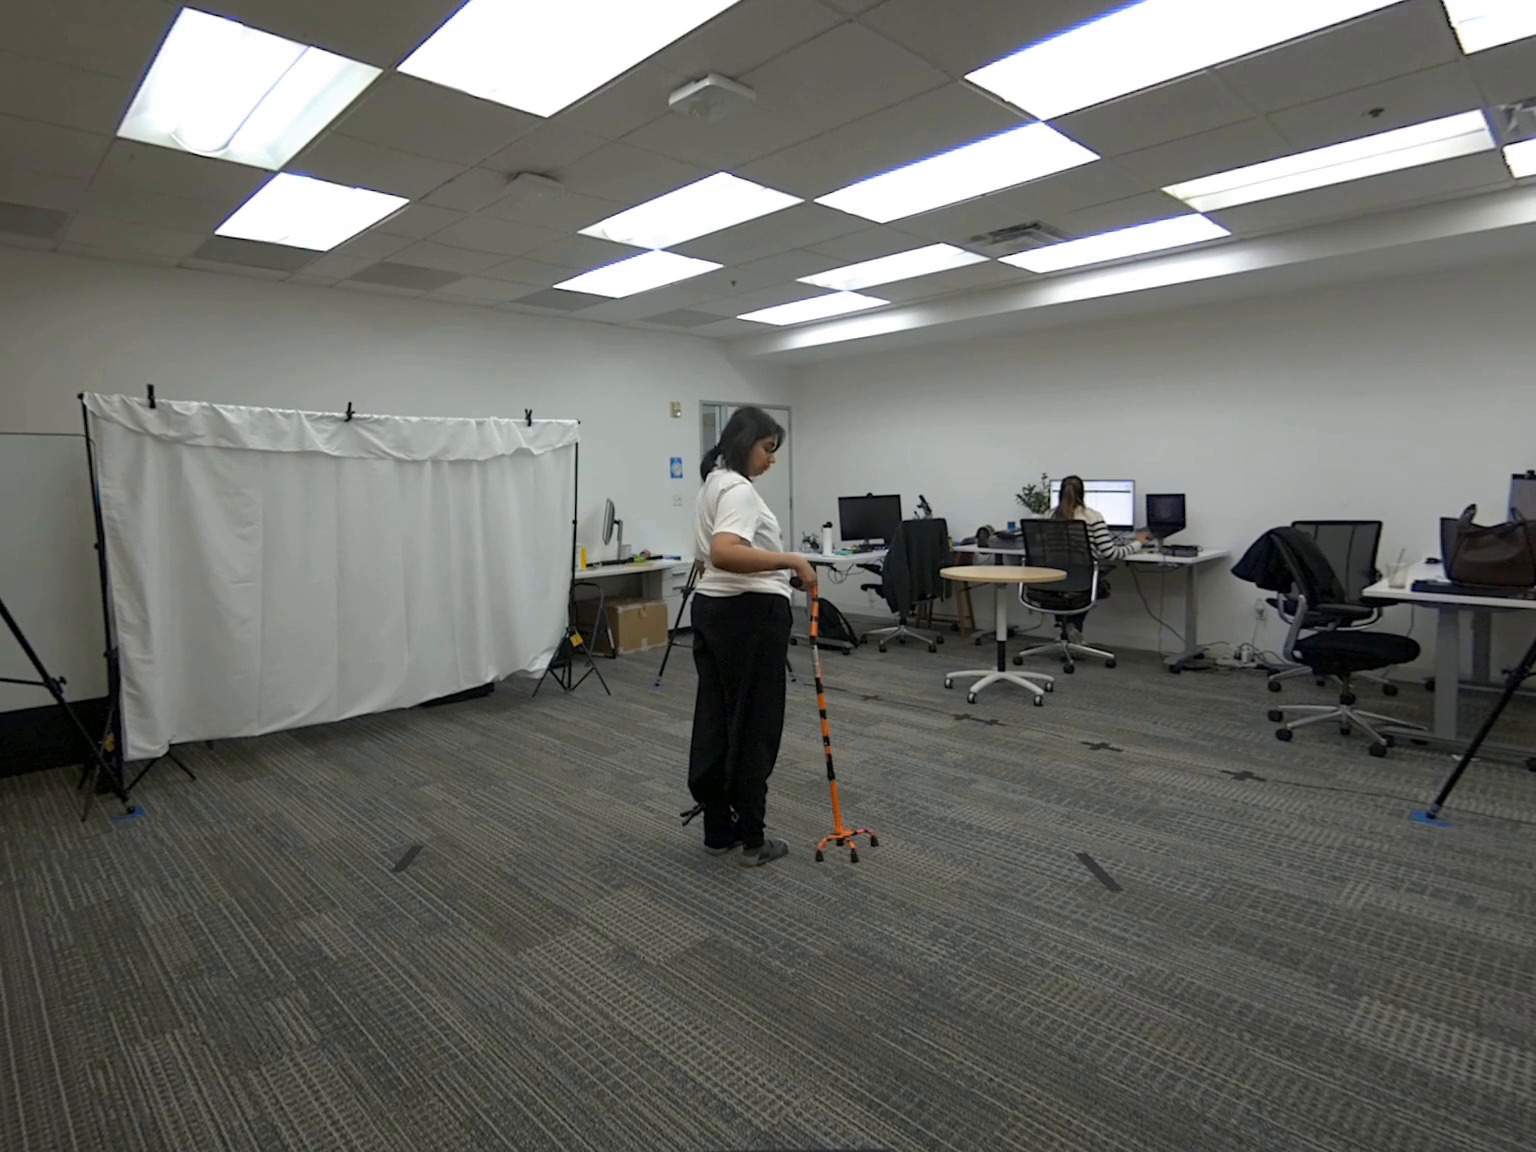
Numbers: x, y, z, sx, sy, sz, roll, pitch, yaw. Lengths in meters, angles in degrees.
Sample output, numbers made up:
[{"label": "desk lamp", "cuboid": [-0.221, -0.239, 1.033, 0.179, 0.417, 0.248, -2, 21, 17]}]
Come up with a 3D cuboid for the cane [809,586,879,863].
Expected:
[{"label": "cane", "cuboid": [0.199, 0.452, 2.834, 0.154, 0.913, 0.201, -9, -5, 26]}]
